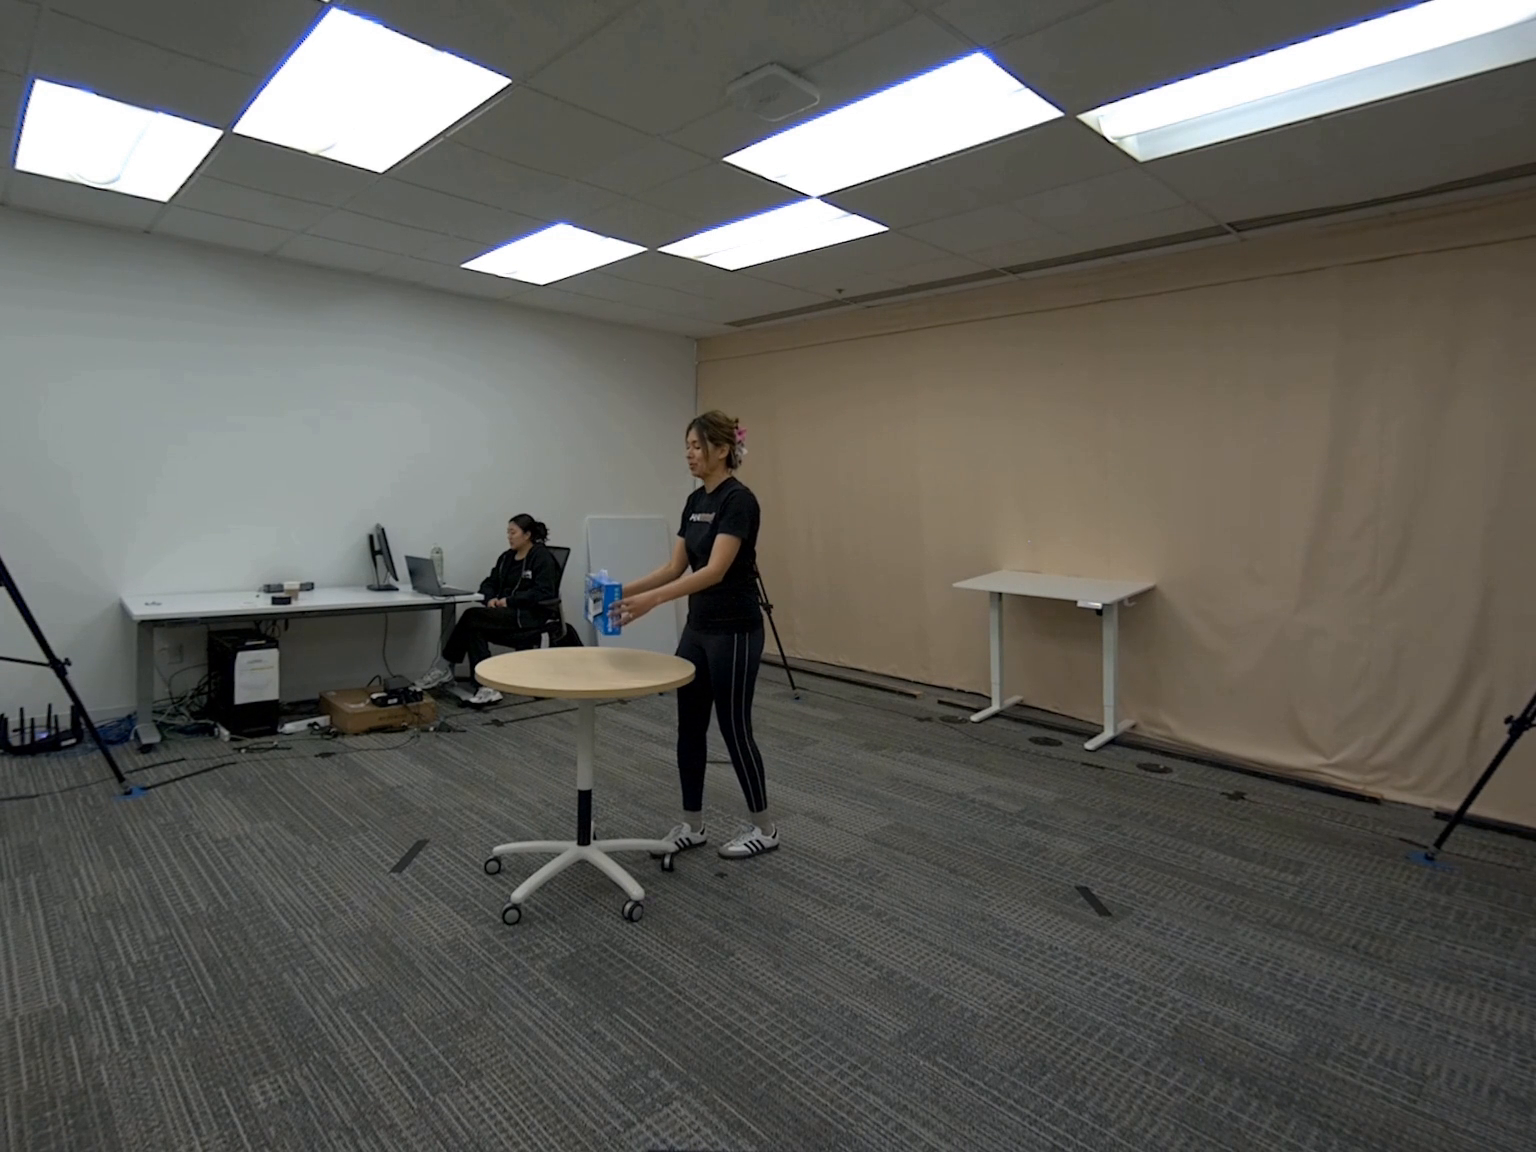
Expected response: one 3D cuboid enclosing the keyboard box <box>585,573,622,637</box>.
[{"bbox_3d":[-0.595,0.095,3.013,0.058,0.175,0.444,2,4,-21],"label":"keyboard box"}]
